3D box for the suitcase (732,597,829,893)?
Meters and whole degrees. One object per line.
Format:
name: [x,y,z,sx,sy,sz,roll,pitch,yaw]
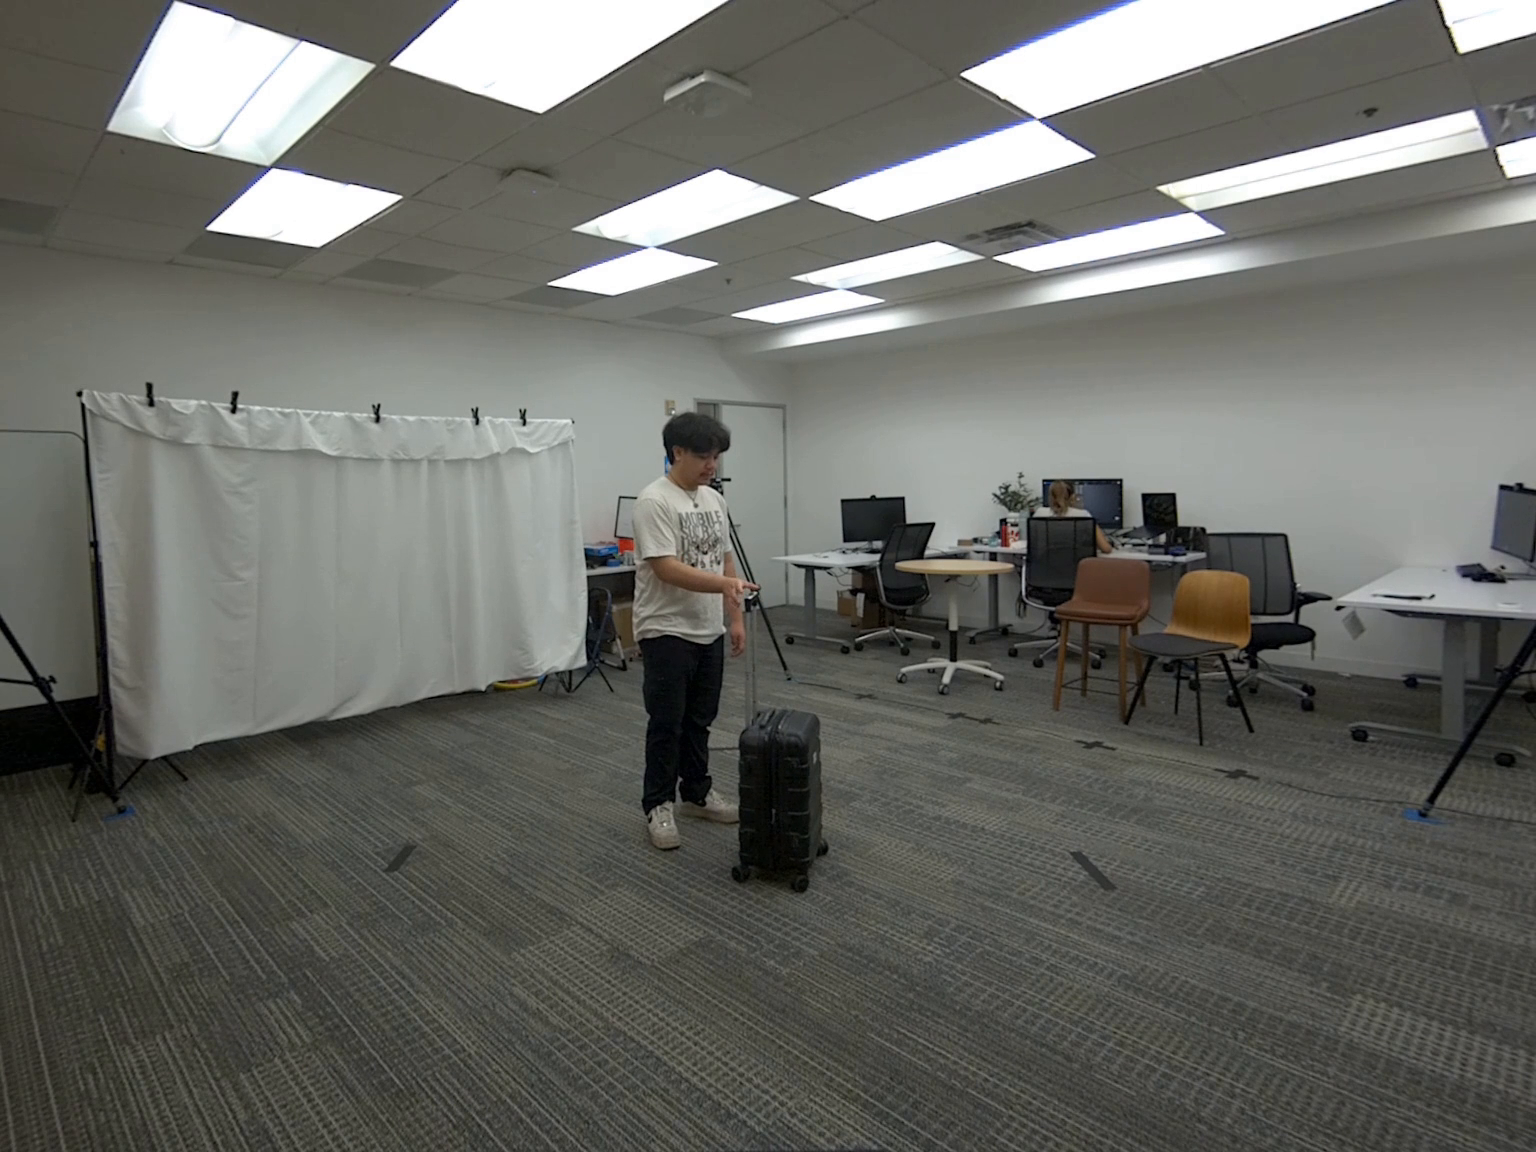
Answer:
suitcase: [0.052,0.574,3.044,0.261,0.975,0.380,1,4,13]
